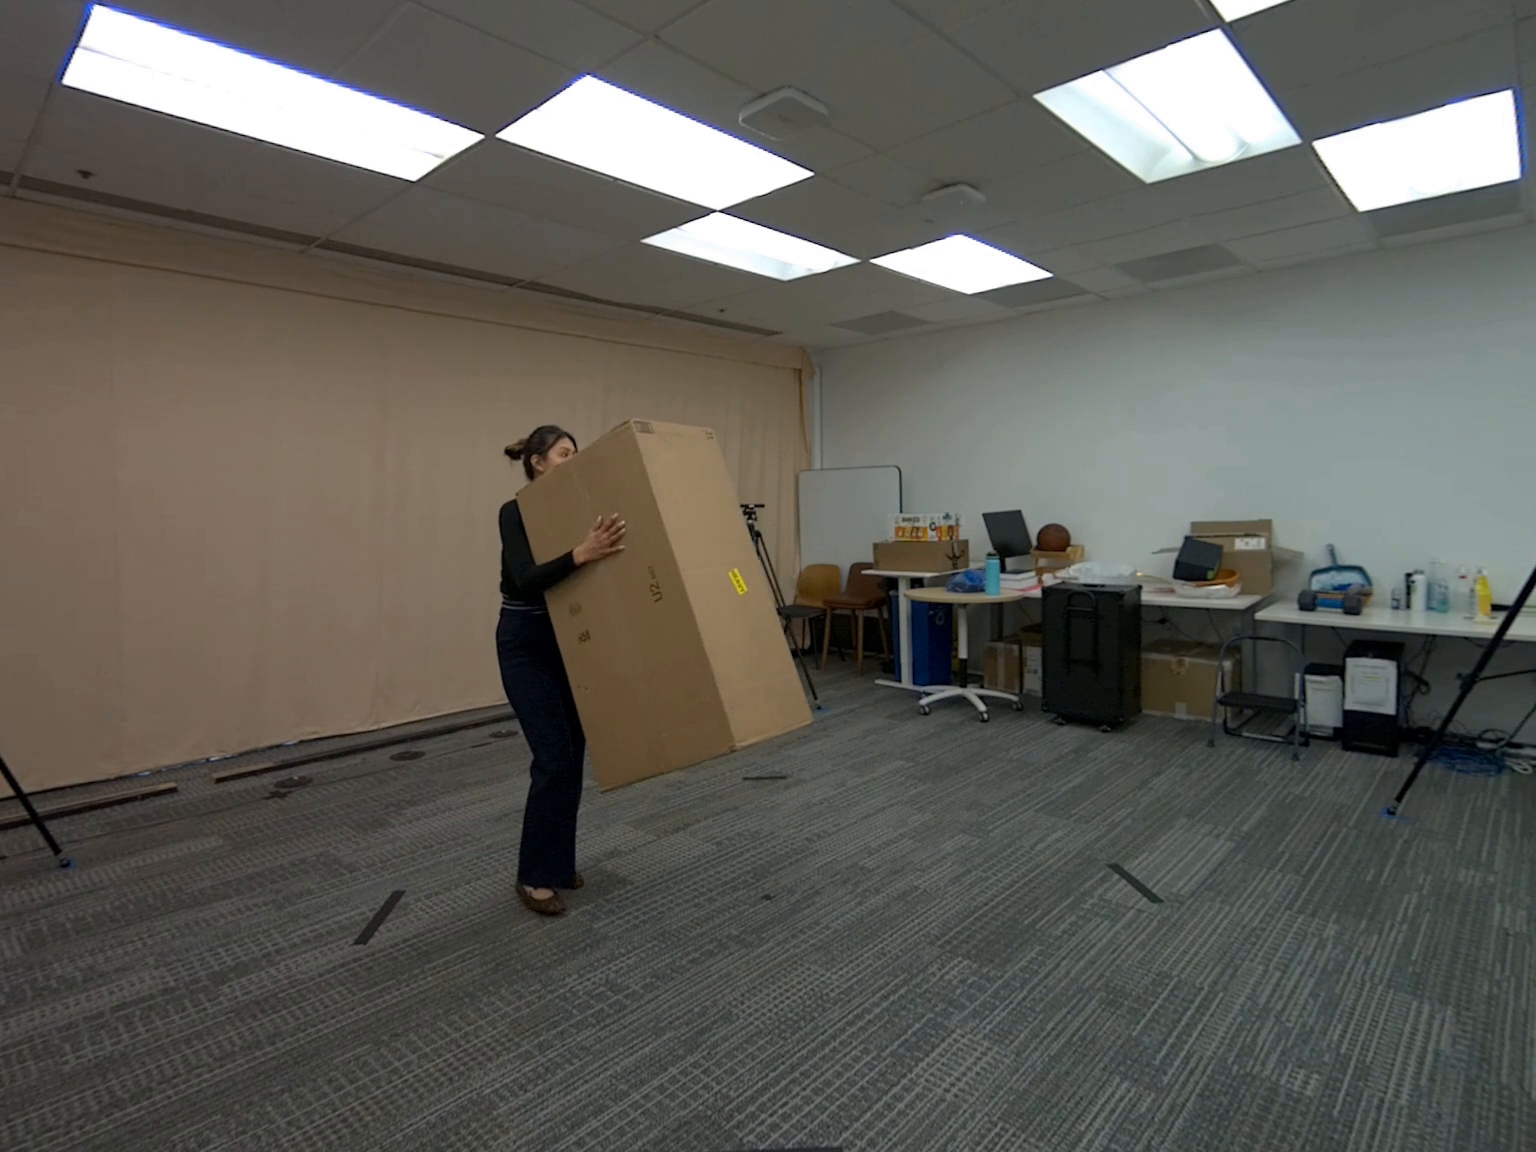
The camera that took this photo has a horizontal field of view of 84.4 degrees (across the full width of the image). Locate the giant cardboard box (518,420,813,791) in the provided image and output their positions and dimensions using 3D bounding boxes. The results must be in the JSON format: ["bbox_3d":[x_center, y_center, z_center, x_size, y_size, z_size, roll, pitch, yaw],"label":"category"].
[{"bbox_3d":[-0.346,0.097,2.735,0.588,1.037,0.413,-26,-13,33],"label":"giant cardboard box"}]
